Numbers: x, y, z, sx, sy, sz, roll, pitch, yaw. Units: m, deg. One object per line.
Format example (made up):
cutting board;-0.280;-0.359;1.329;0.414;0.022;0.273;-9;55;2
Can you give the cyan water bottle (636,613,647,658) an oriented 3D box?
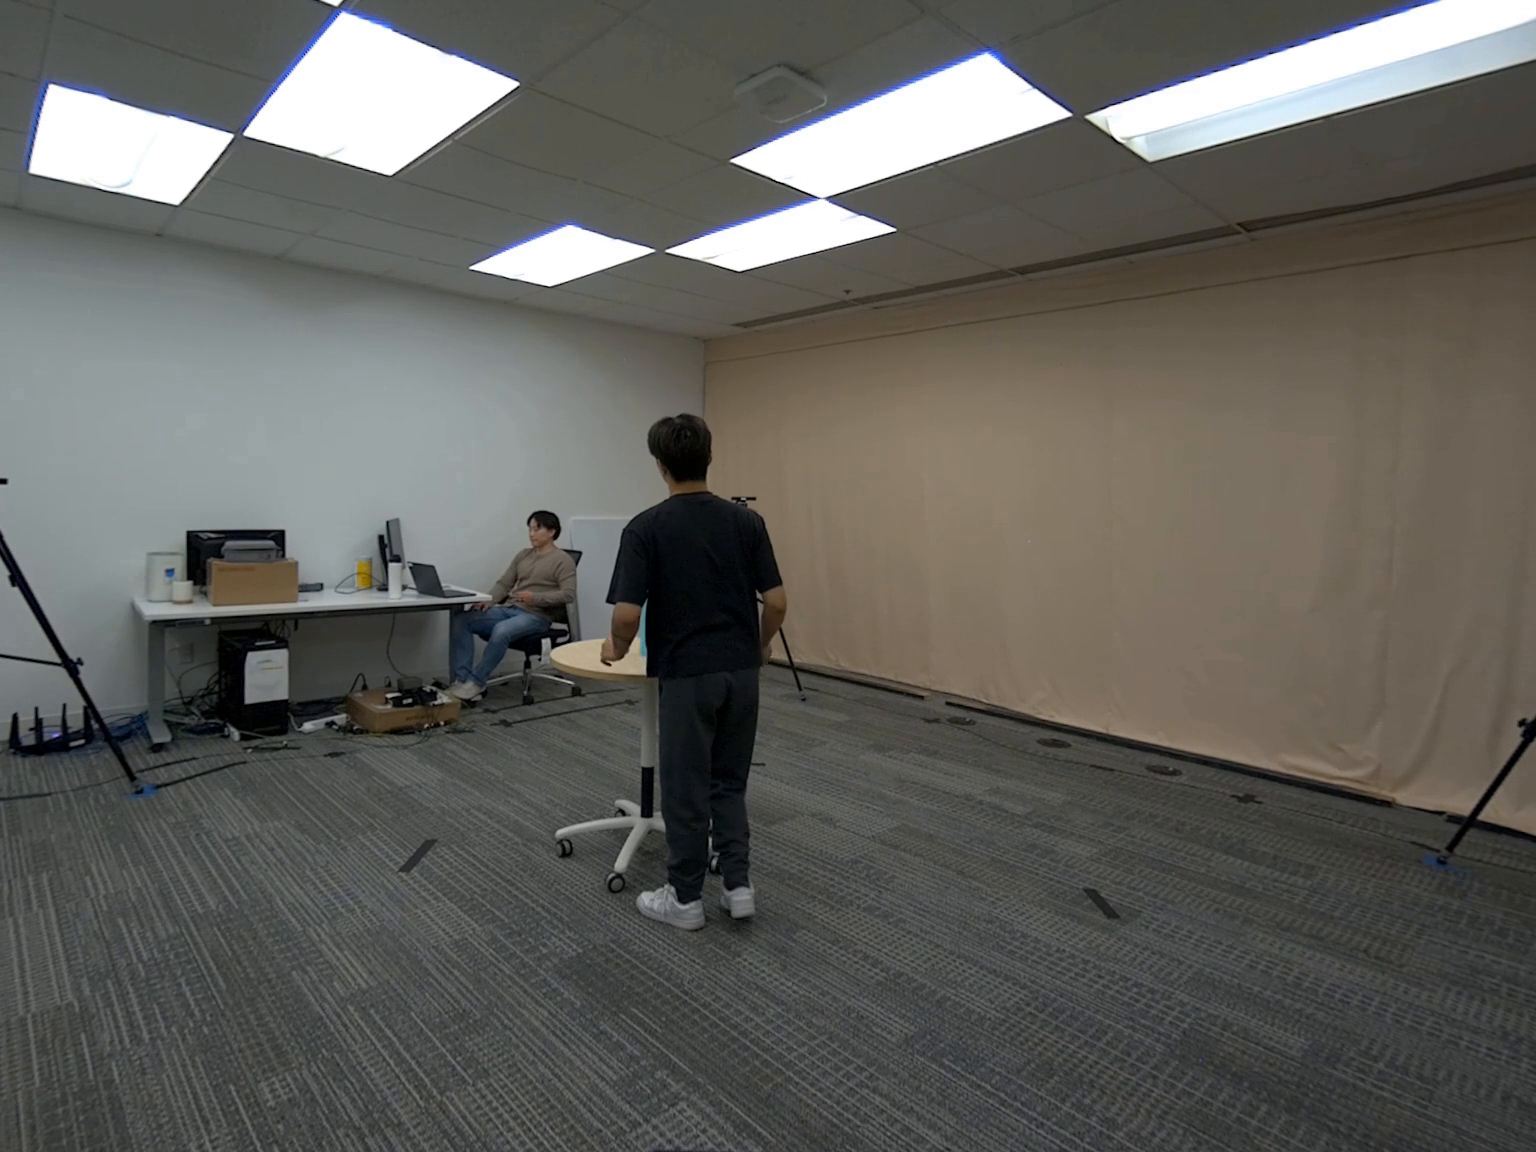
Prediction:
cyan water bottle;-0.457;0.169;3.246;0.092;0.282;0.093;4;5;-2
